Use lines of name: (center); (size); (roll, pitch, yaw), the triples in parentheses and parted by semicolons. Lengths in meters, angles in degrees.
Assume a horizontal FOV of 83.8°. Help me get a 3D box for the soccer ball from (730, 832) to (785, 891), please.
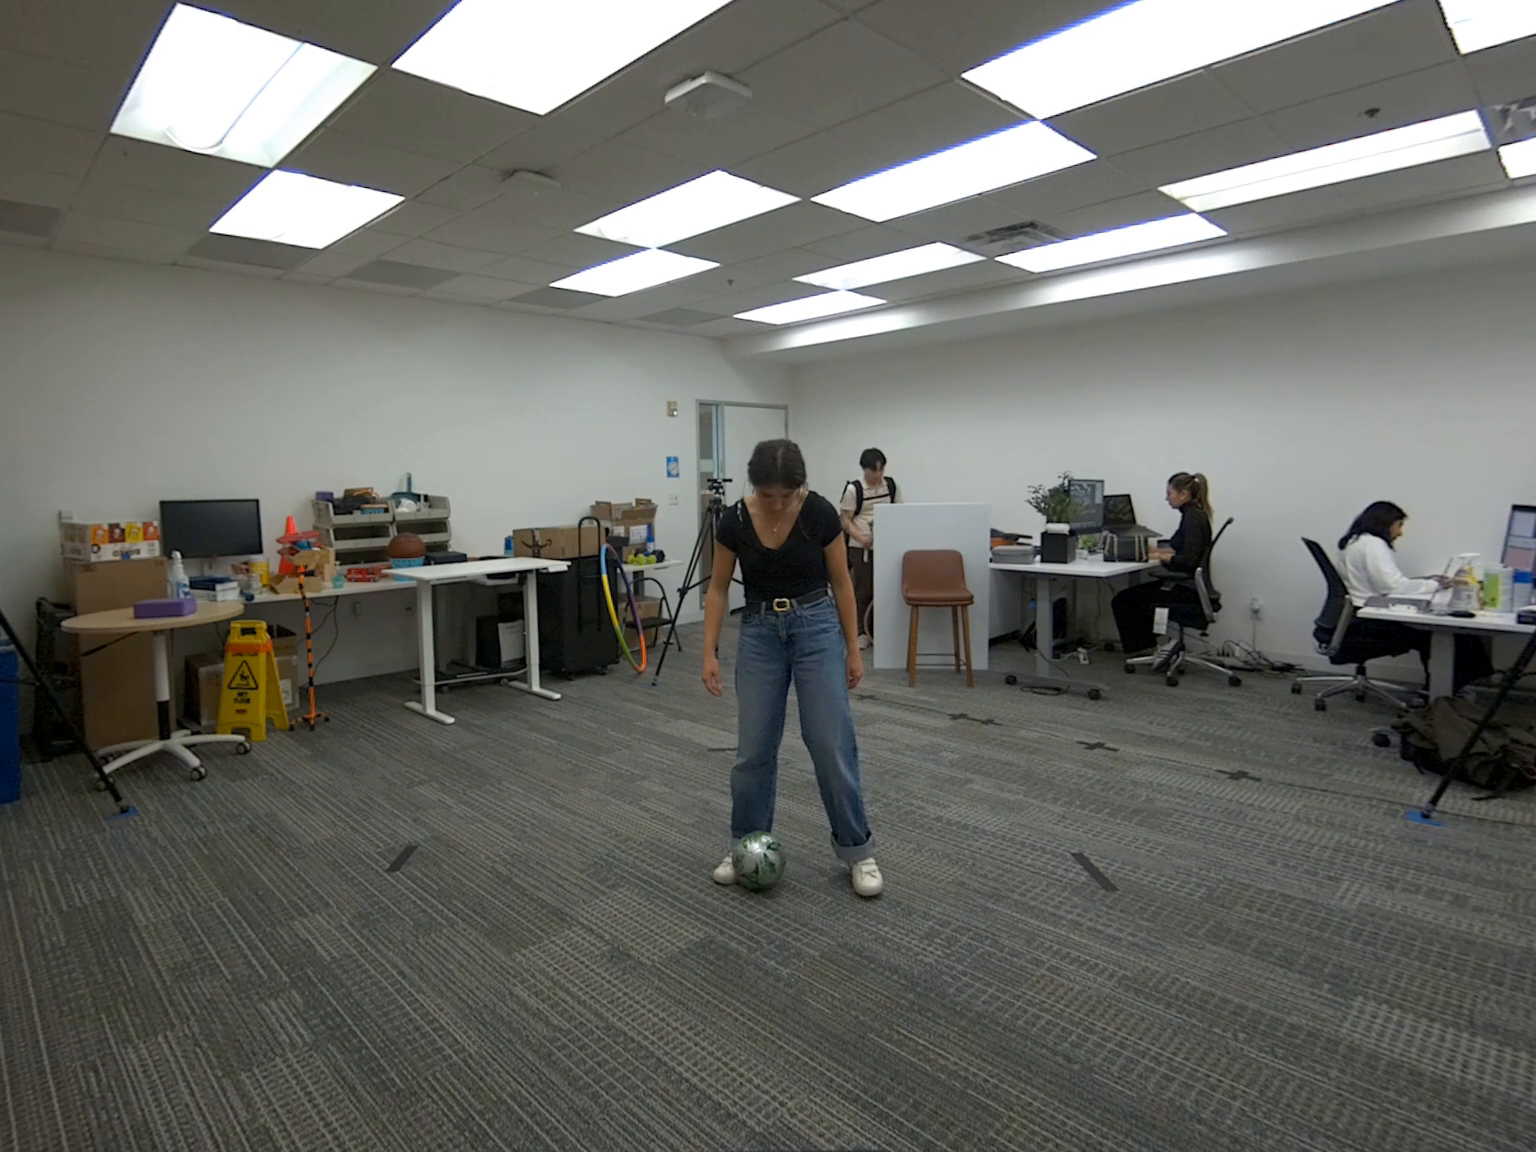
soccer ball: (-0.026, 0.983, 2.927); (0.187, 0.187, 0.188); (-1, 5, -2)
